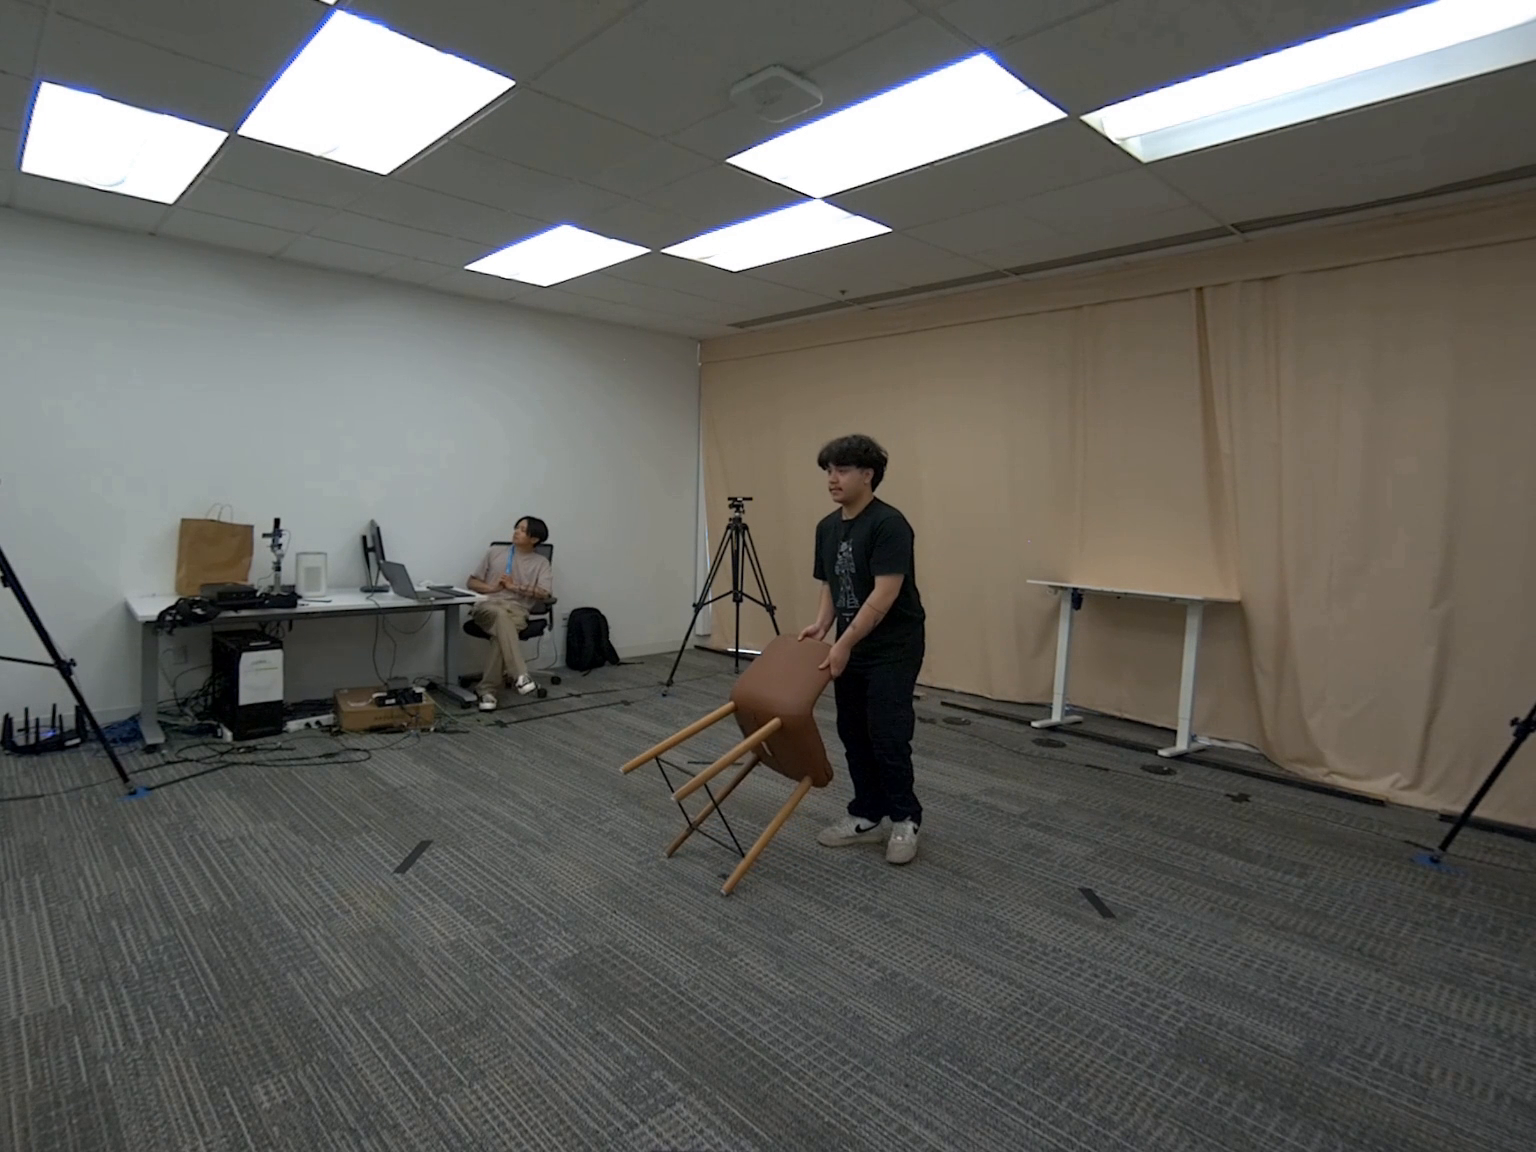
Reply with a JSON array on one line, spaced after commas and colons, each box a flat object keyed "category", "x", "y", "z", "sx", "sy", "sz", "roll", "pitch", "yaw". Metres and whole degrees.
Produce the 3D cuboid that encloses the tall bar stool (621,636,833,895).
[{"category": "tall bar stool", "x": -0.064, "y": 0.679, "z": 3.233, "sx": 0.886, "sy": 0.458, "sz": 0.468, "roll": -41, "pitch": 27, "yaw": -30}]
